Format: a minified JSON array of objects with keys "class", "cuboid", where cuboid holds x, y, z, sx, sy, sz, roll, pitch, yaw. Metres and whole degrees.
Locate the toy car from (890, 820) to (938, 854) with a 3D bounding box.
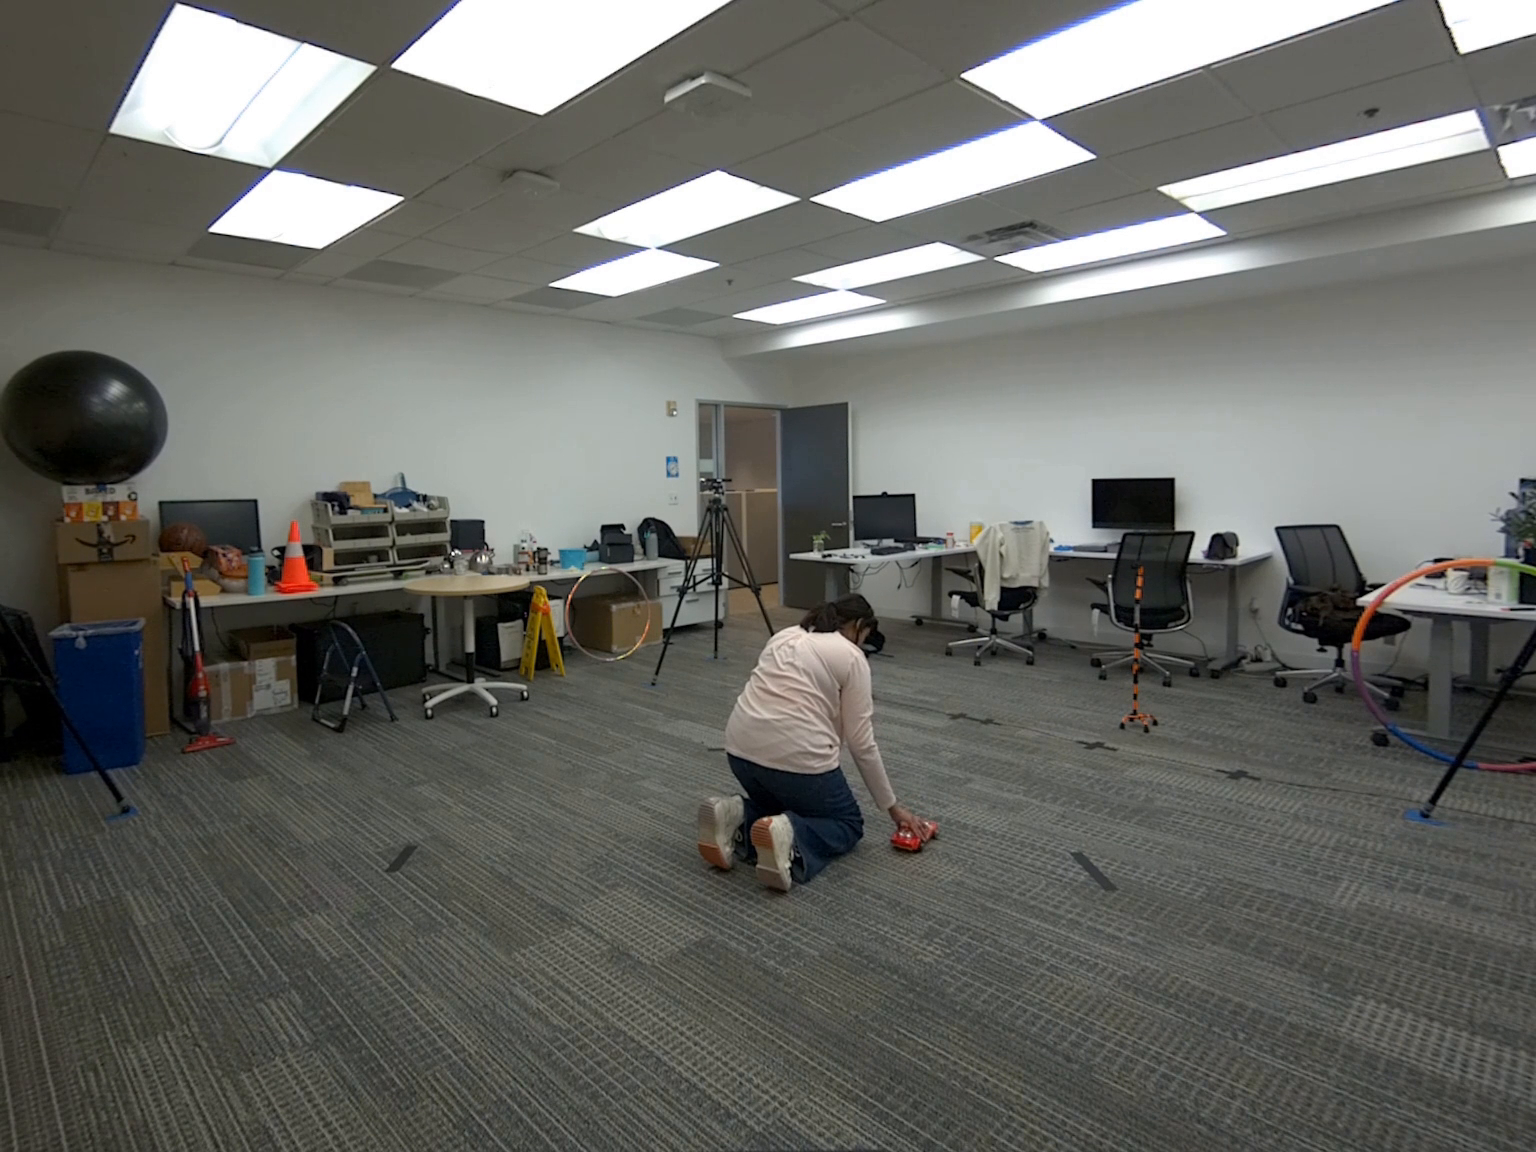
[{"class":"toy car","cuboid":[0.548,0.982,3.242,0.134,0.083,0.246,4,-4,34]}]
